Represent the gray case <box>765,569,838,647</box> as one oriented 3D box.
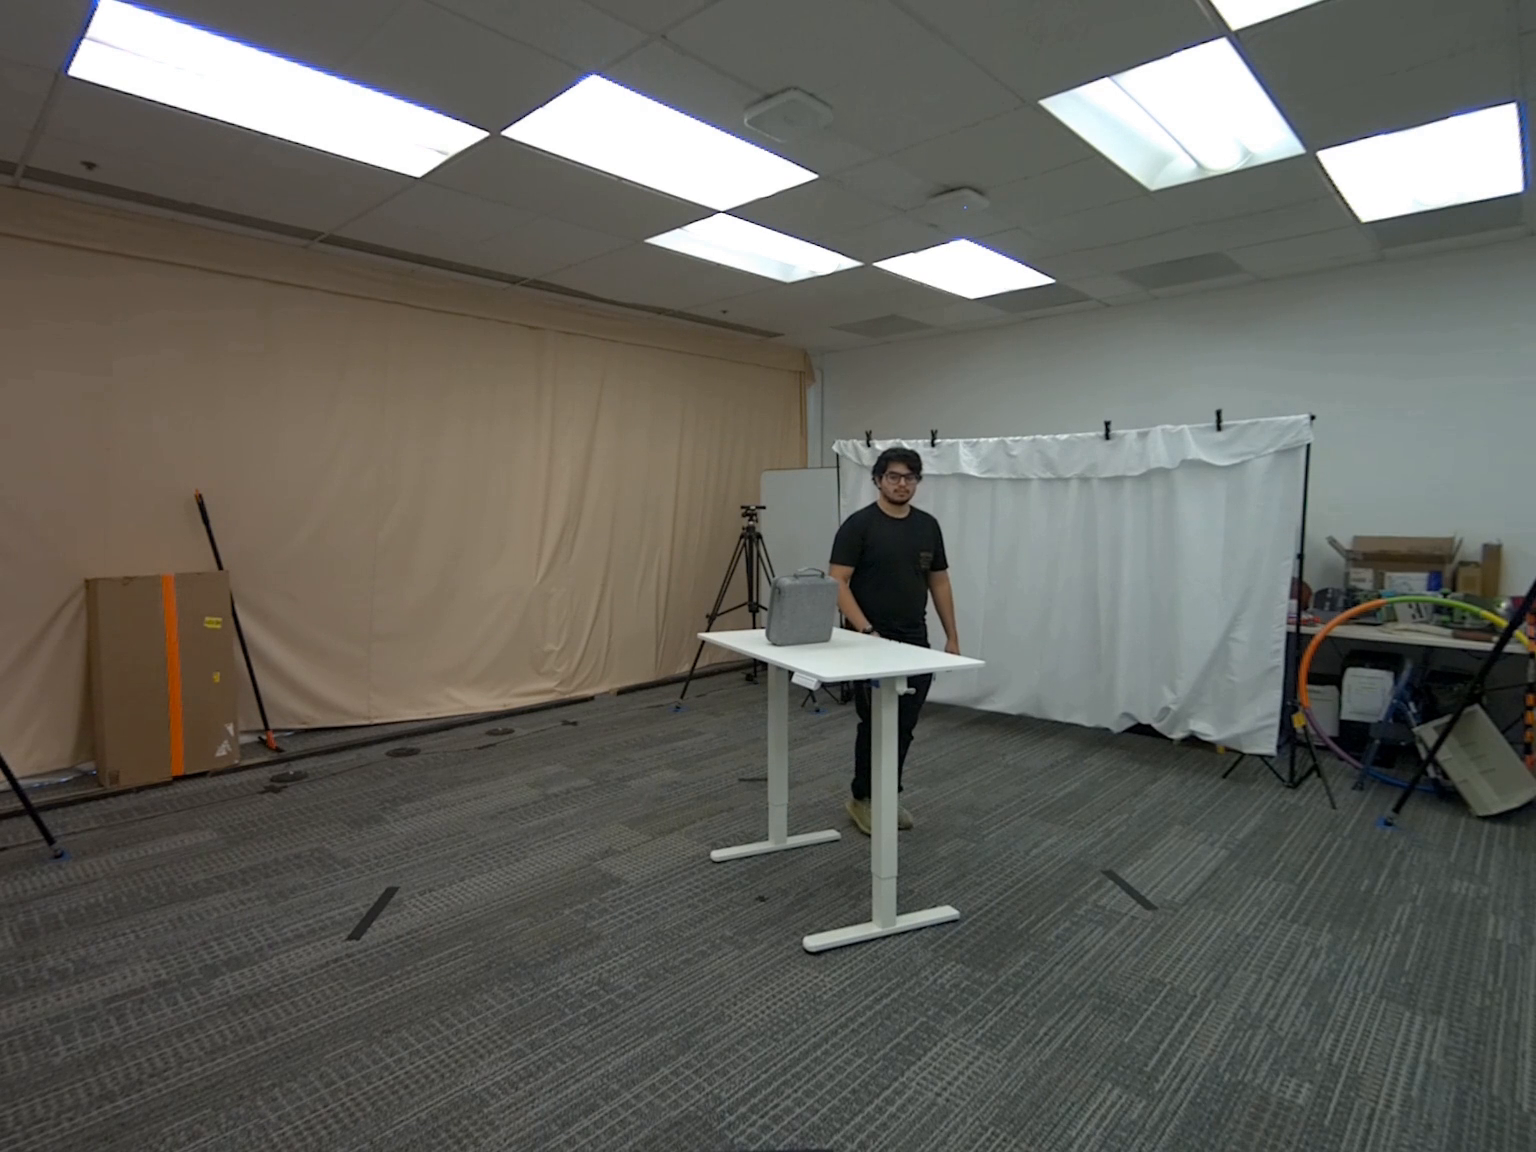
[{"bbox_3d":[0.131,0.120,3.097,0.250,0.259,0.108,-1,15,-27],"label":"gray case"}]
